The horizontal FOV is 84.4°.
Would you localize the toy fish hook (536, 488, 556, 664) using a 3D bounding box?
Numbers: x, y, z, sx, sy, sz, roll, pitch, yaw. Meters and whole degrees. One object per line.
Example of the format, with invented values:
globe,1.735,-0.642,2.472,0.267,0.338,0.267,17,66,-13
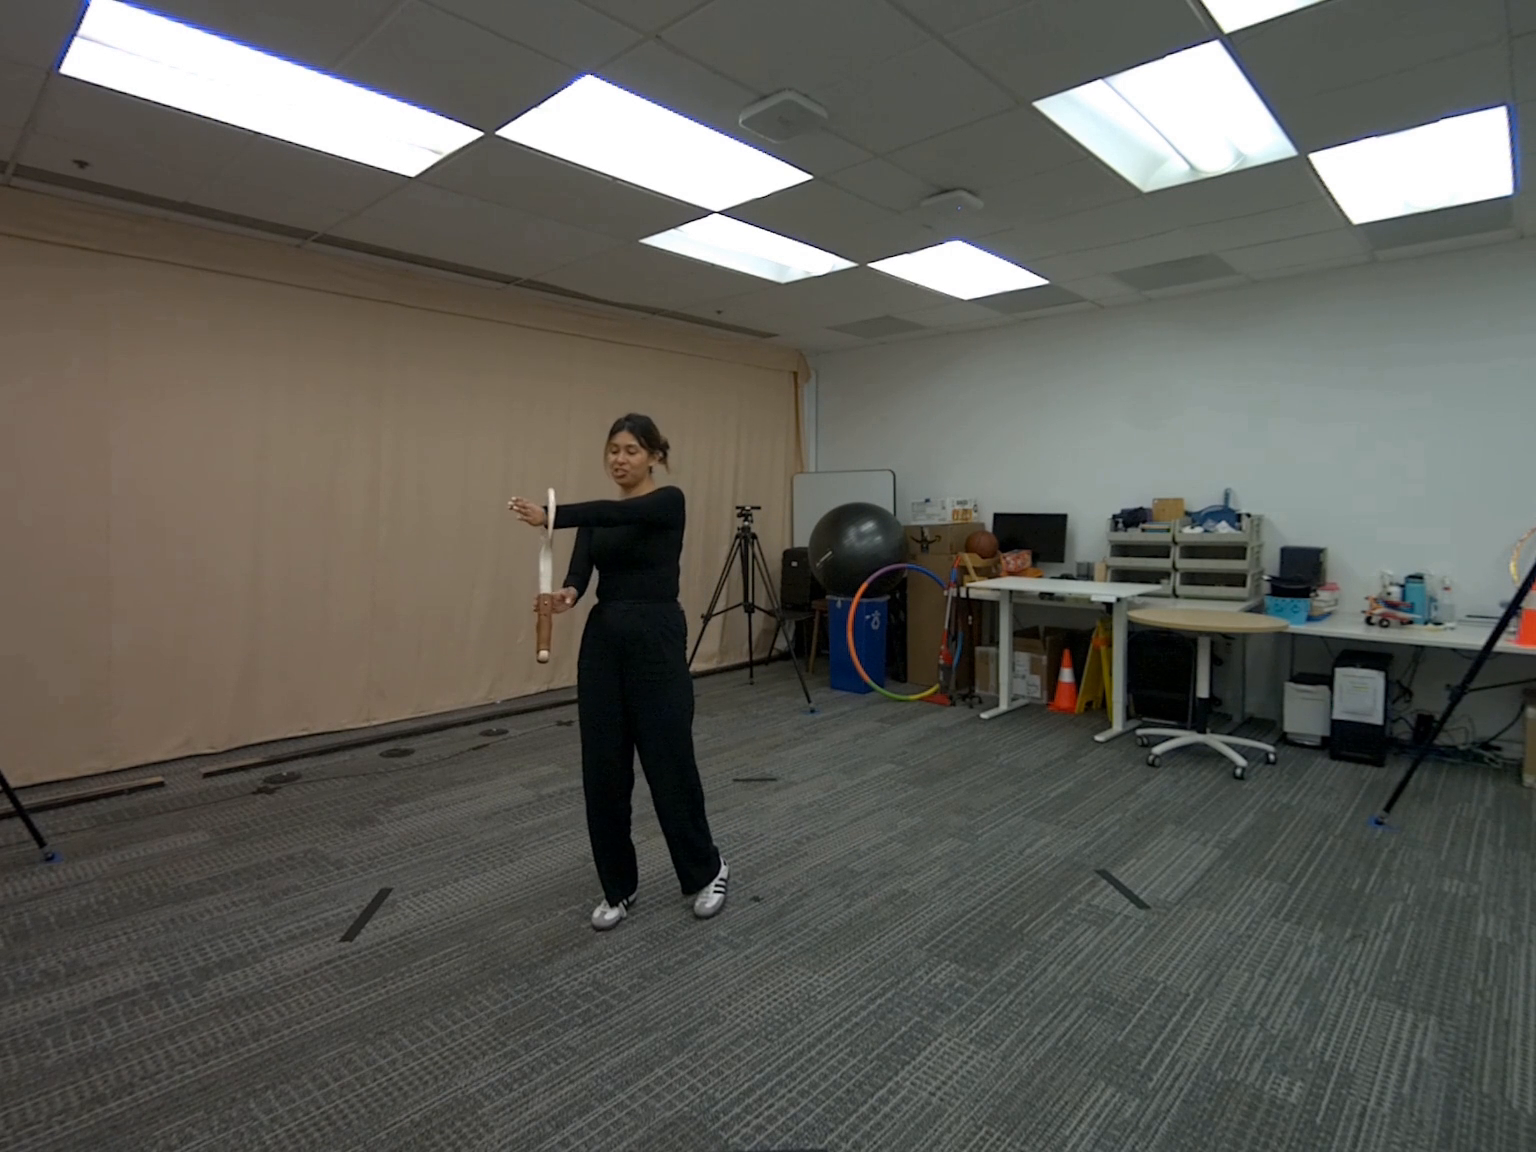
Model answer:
toy fish hook,-0.616,-0.010,2.377,0.048,0.516,0.223,-1,-28,-12
